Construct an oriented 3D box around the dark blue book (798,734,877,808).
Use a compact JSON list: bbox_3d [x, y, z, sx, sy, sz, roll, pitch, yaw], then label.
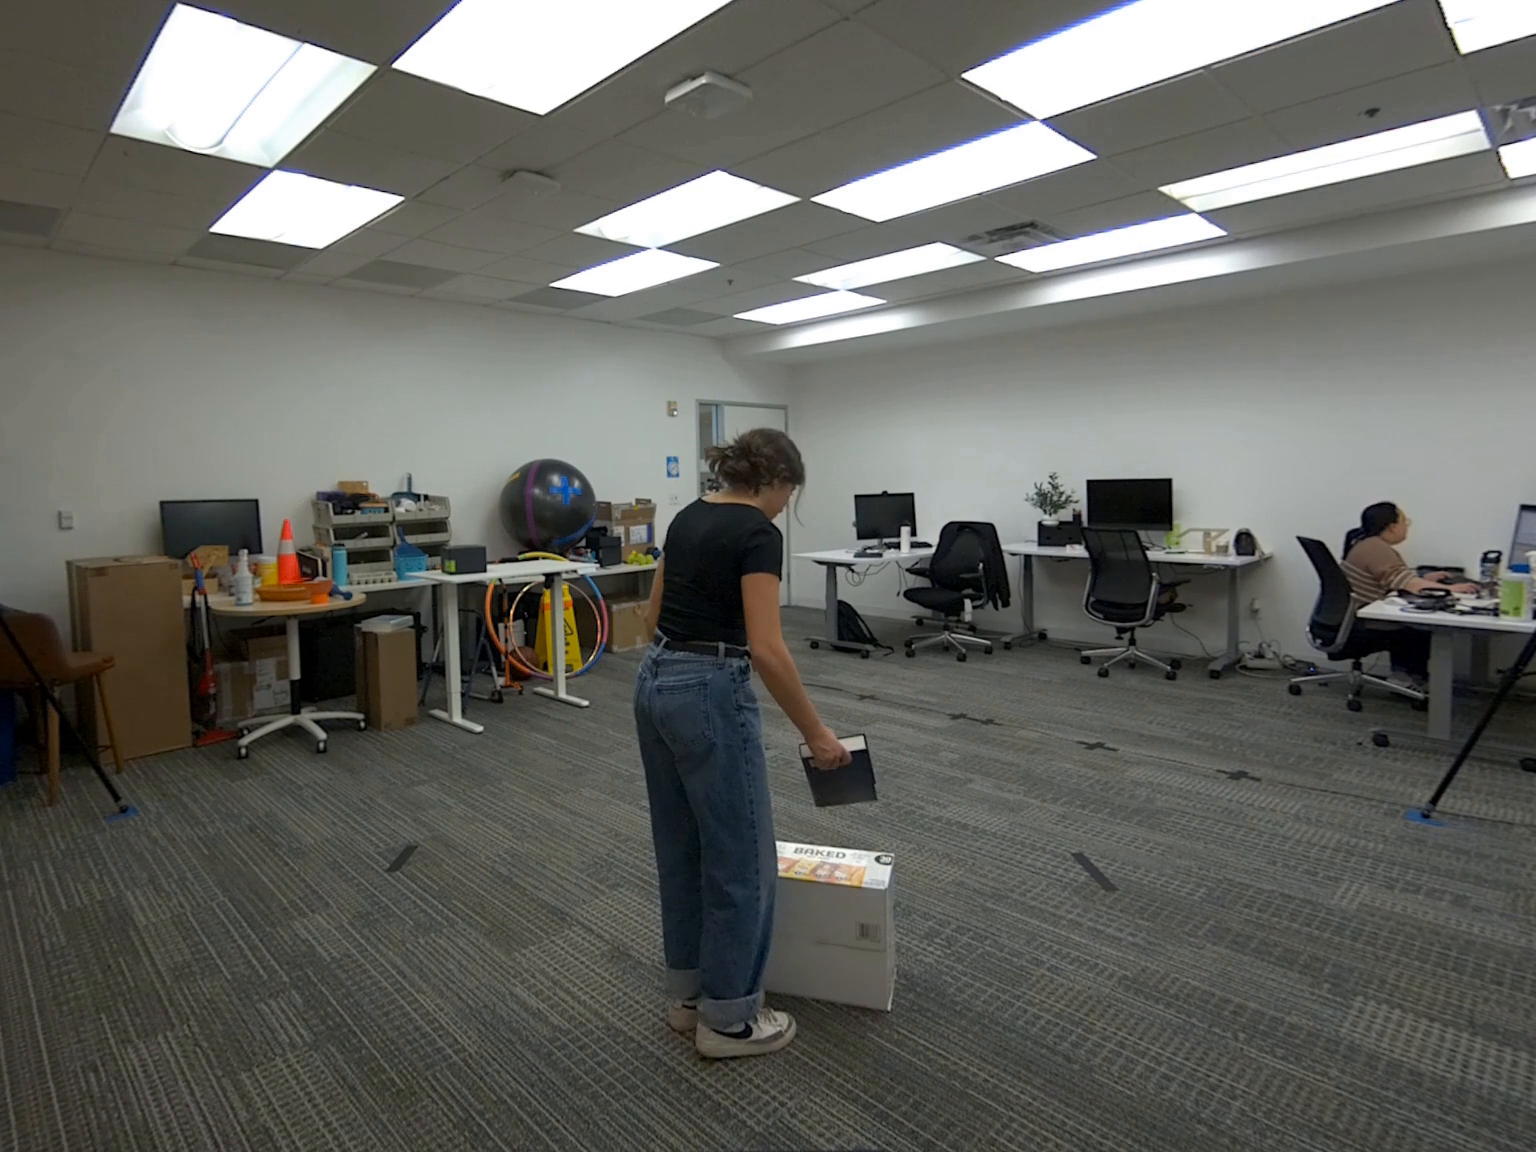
[{"bbox_3d":[0.180,0.496,2.139,0.164,0.237,0.046,-11,42,8],"label":"dark blue book"}]
